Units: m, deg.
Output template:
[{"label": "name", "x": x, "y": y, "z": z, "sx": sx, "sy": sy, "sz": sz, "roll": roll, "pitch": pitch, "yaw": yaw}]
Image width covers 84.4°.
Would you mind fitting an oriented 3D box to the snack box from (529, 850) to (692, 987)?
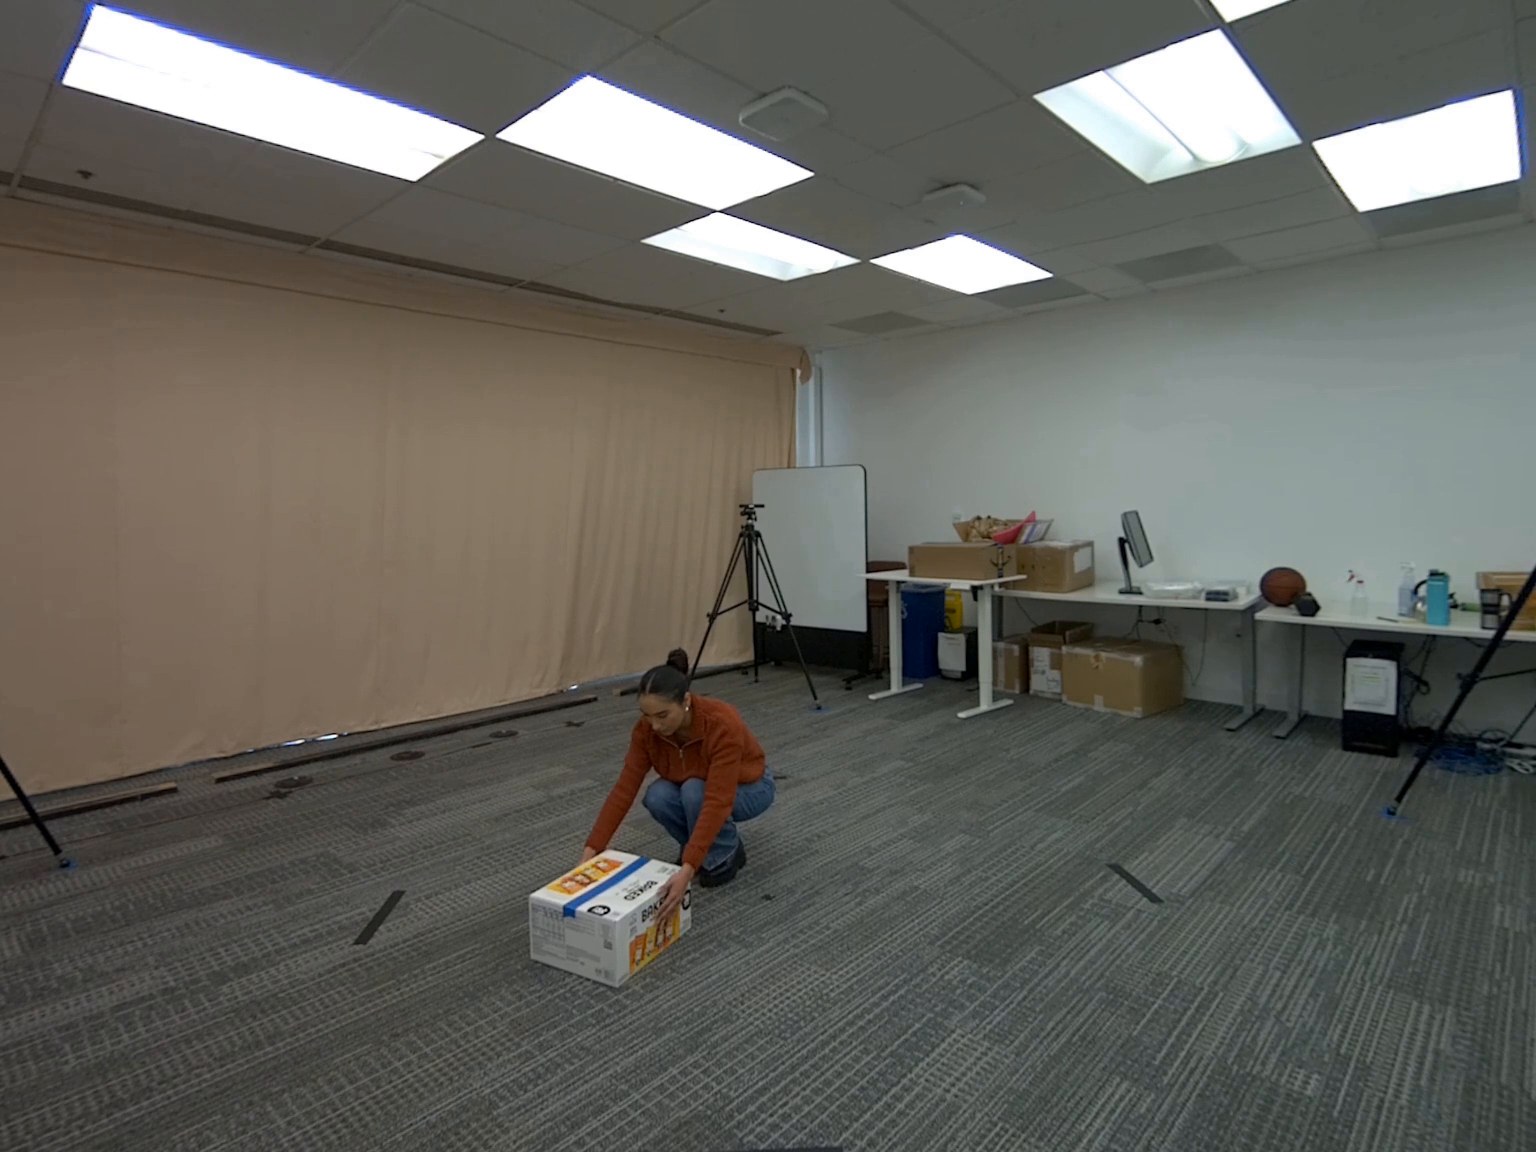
[{"label": "snack box", "x": -0.495, "y": 1.071, "z": 2.684, "sx": 0.350, "sy": 0.205, "sz": 0.395, "roll": 1, "pitch": 5, "yaw": 29}]
